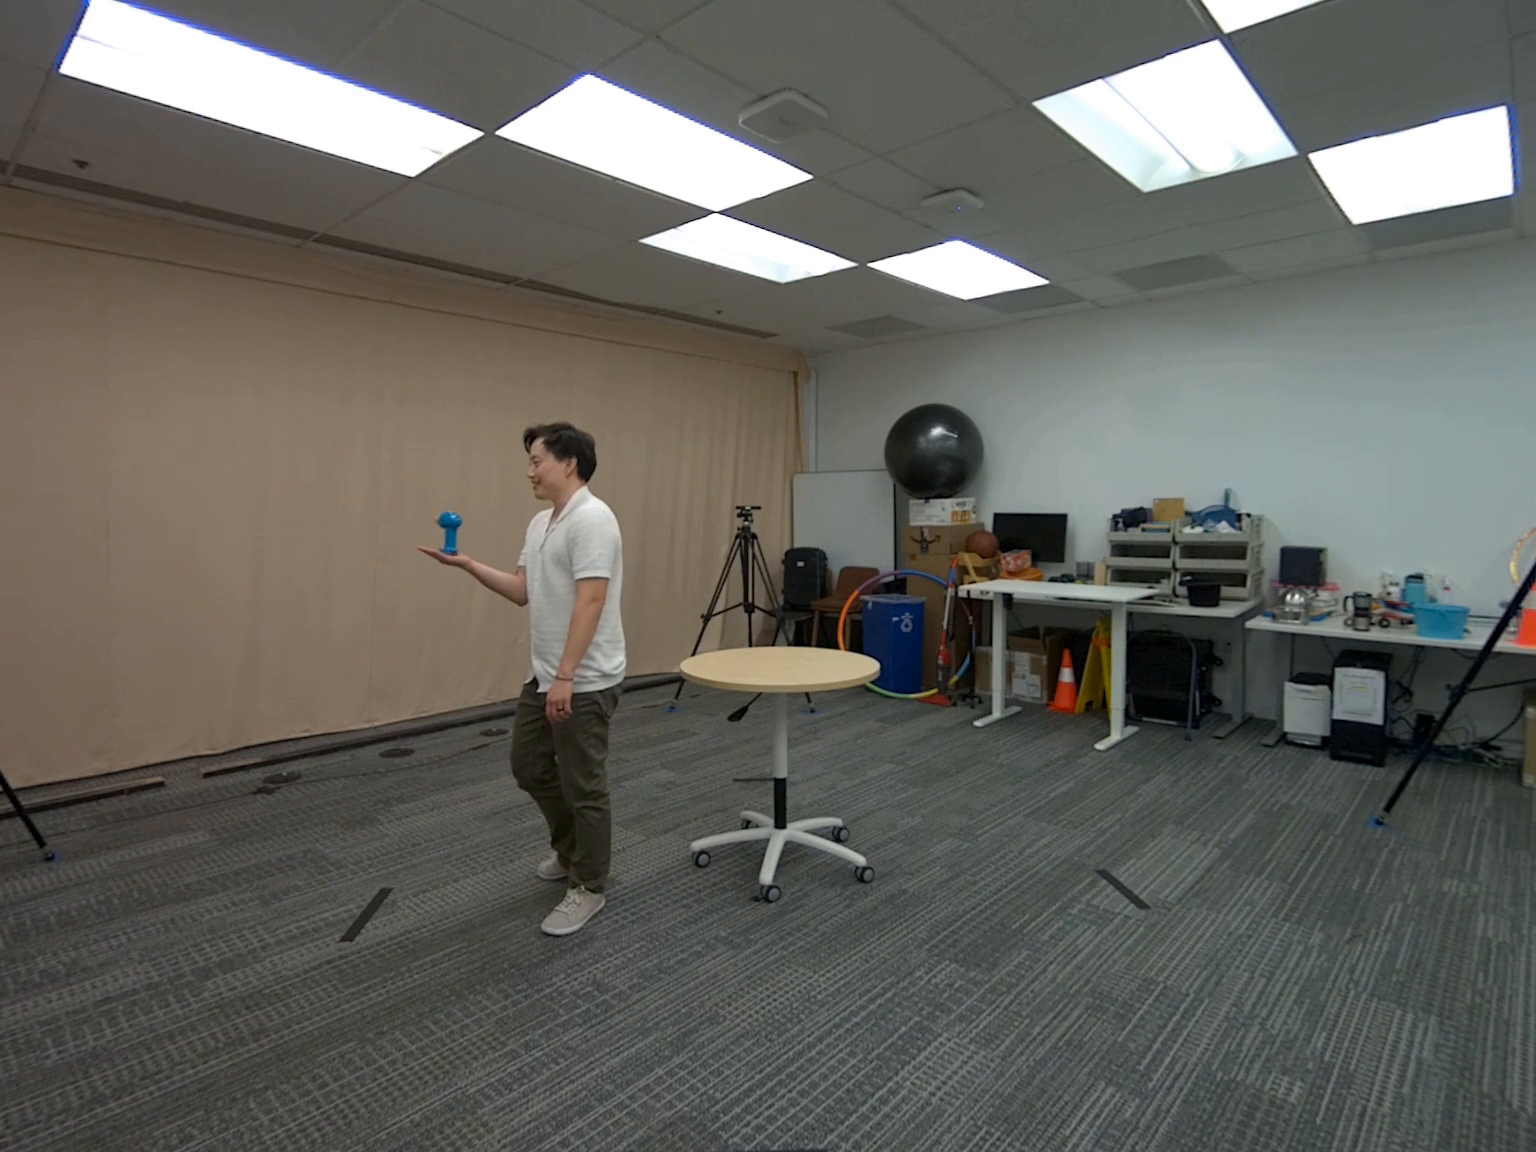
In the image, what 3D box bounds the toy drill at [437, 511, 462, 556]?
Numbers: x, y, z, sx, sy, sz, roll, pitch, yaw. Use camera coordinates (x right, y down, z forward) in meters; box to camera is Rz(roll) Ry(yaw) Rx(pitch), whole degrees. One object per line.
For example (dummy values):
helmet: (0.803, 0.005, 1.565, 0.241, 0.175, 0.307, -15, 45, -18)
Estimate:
toy drill: (-1.082, -0.146, 2.833, 0.176, 0.146, 0.059, 9, 3, 42)
